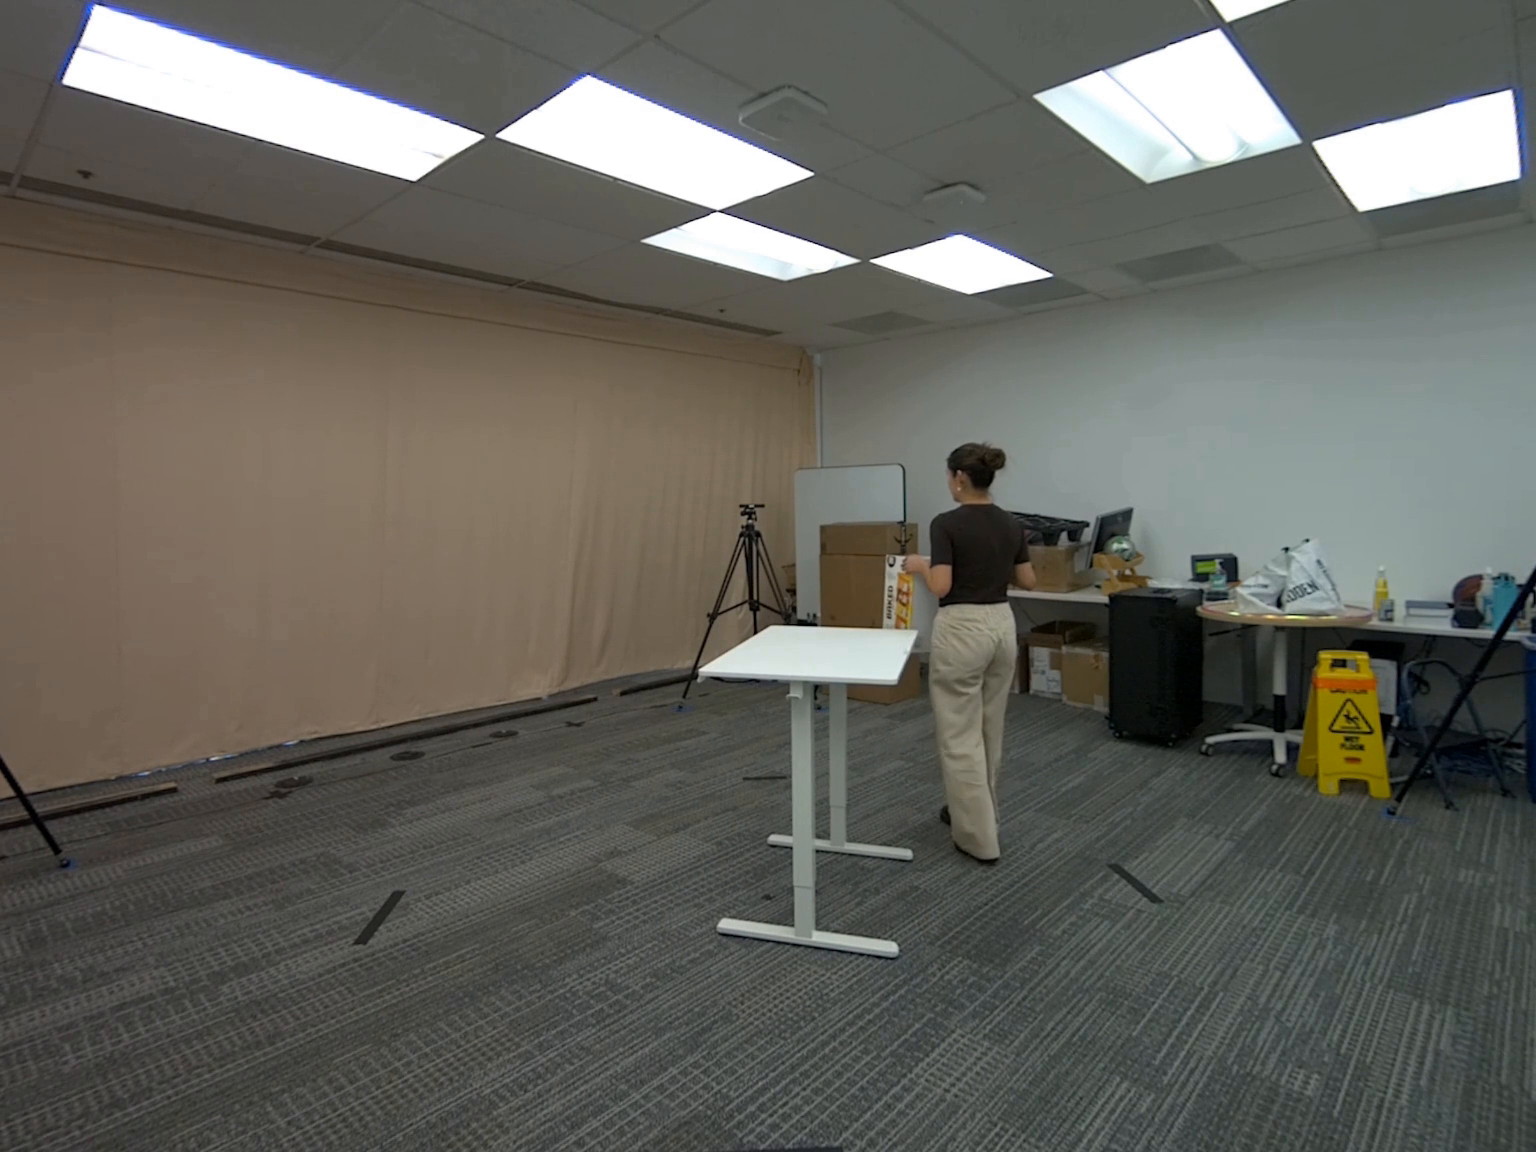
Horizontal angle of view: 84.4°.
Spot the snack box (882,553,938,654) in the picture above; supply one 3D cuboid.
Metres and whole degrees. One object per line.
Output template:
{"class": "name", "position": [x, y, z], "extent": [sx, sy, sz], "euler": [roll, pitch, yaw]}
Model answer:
{"class": "snack box", "position": [0.714, 0.115, 3.696], "extent": [0.333, 0.404, 0.210], "euler": [2, 2, -21]}
